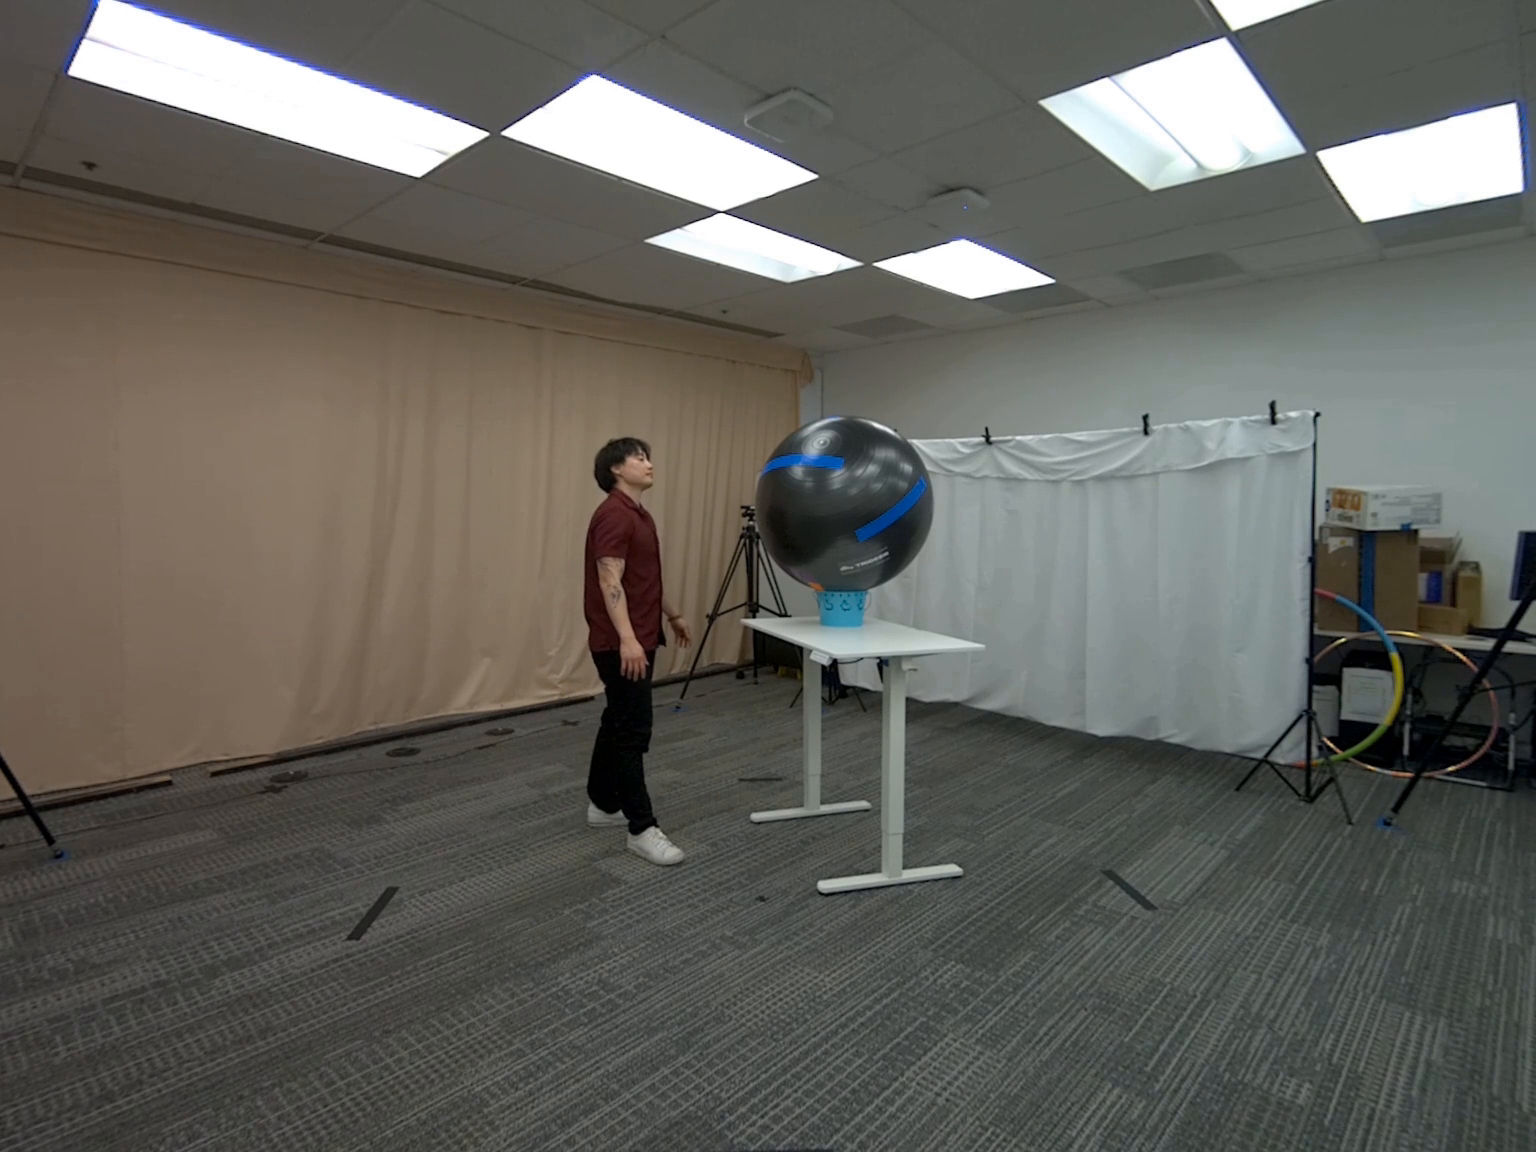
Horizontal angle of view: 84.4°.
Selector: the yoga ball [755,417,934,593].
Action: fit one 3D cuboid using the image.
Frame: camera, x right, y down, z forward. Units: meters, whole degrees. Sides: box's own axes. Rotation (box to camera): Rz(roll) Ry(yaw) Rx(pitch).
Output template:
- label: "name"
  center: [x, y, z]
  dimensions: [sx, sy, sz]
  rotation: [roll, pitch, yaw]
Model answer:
- label: "yoga ball"
  center: [0.338, -0.298, 3.626]
  dimensions: [0.757, 0.756, 0.760]
  rotation: [0, 4, -2]
